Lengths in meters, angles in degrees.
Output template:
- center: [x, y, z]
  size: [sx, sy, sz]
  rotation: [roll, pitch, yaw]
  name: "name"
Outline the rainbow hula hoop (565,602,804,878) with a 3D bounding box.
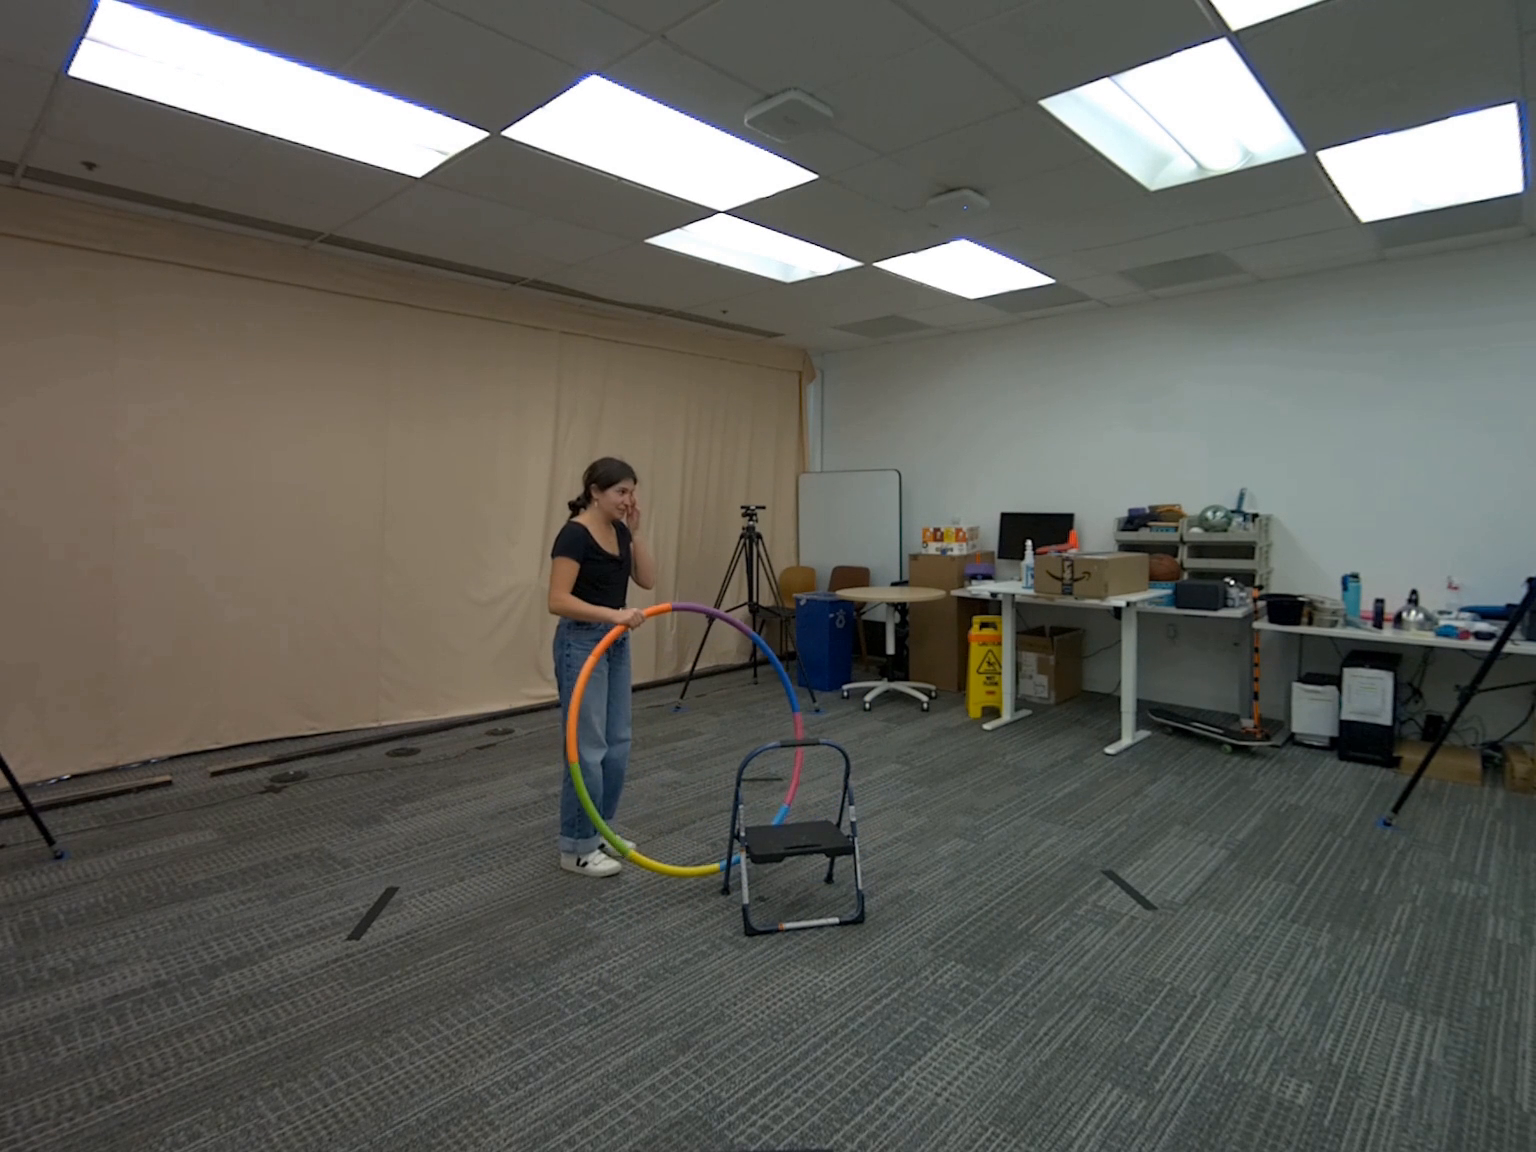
- center: [-0.267, 0.604, 3.139]
  size: [0.952, 0.987, 0.036]
  rotation: [-3, -12, -31]
  name: "rainbow hula hoop"
